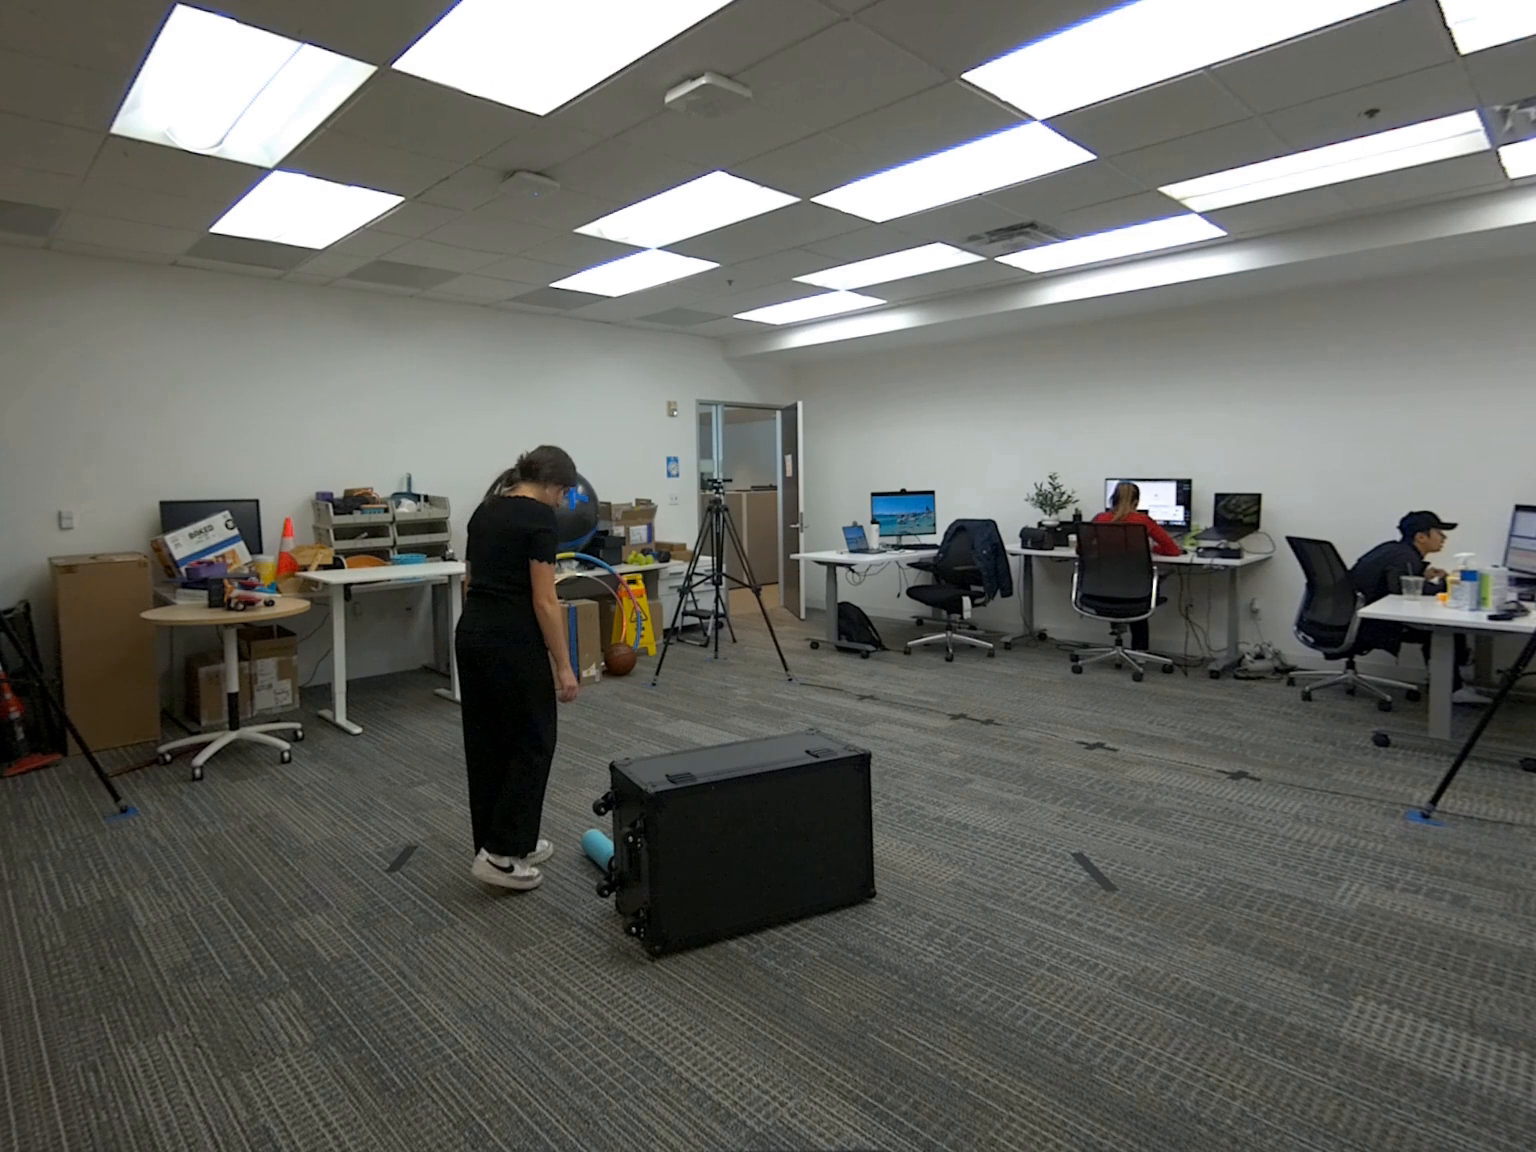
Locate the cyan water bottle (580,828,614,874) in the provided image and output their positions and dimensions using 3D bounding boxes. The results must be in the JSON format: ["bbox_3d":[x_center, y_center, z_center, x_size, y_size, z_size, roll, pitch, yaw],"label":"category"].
[{"bbox_3d":[-0.586,1.003,3.104,0.090,0.092,0.291,-4,6,-32],"label":"cyan water bottle"}]
